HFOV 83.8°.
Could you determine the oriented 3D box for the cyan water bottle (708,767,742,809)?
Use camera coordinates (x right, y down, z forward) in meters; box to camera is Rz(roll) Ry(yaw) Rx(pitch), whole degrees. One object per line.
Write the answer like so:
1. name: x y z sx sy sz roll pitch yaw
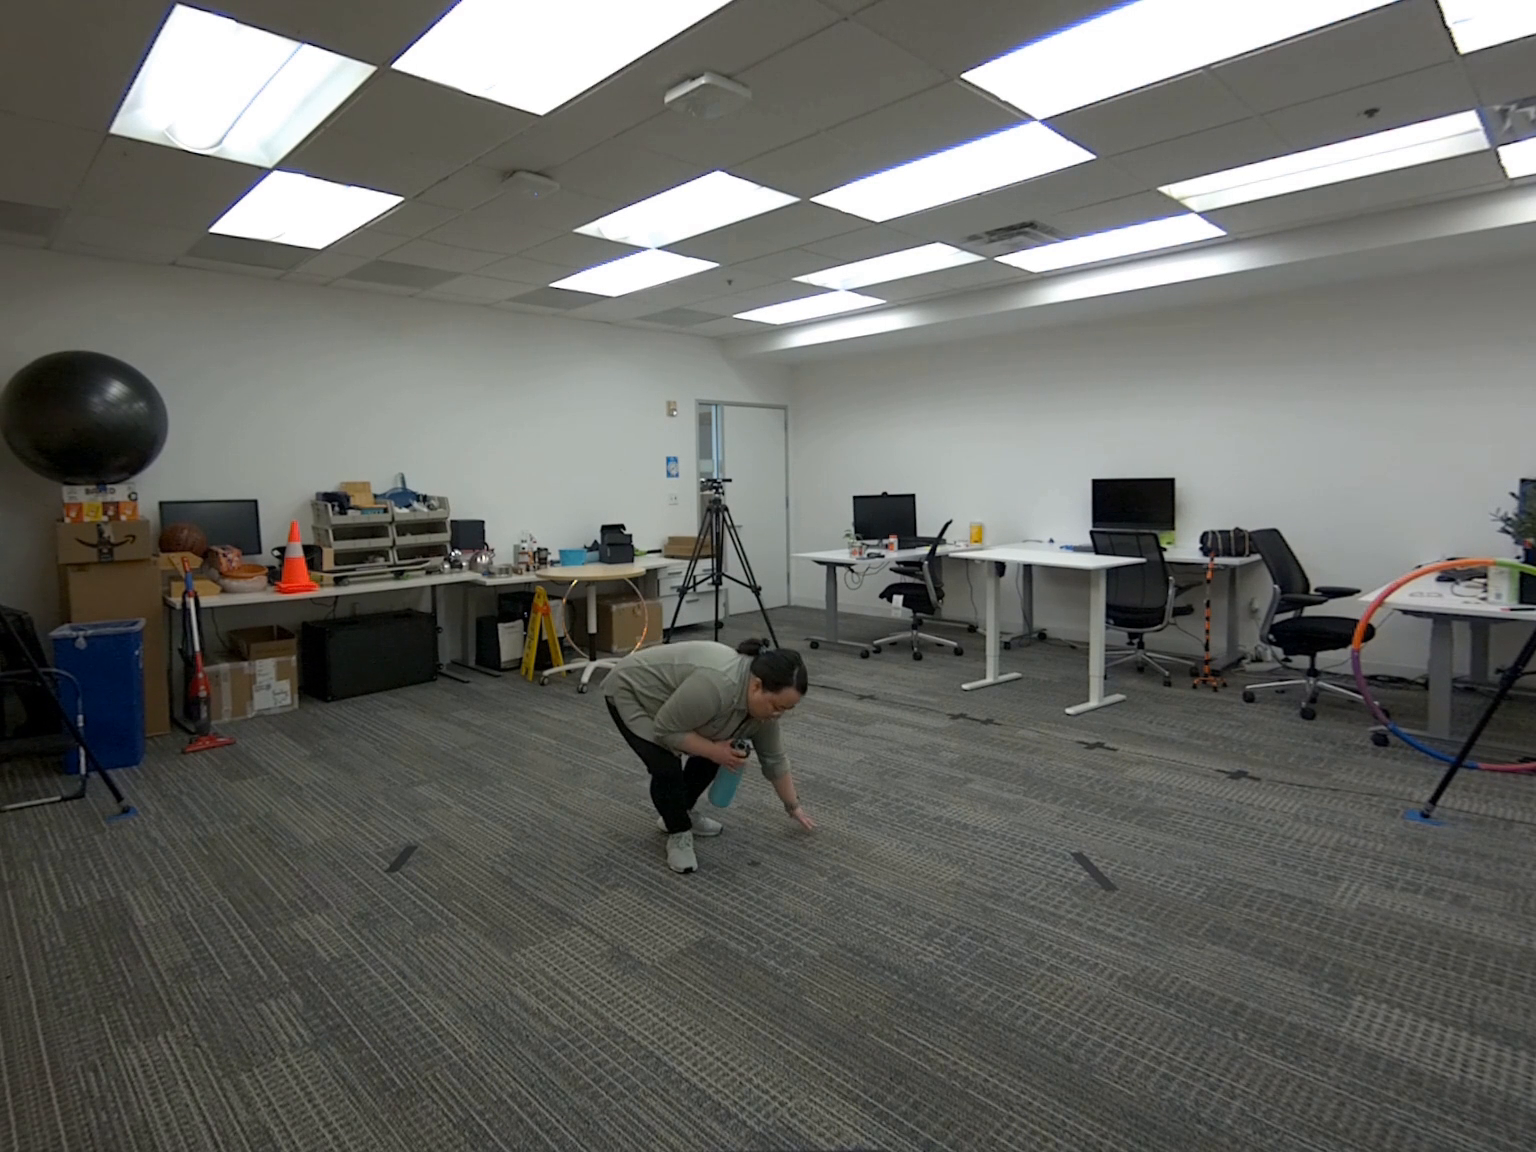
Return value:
1. cyan water bottle: -0.161 0.717 3.120 0.091 0.280 0.094 15 26 -10
